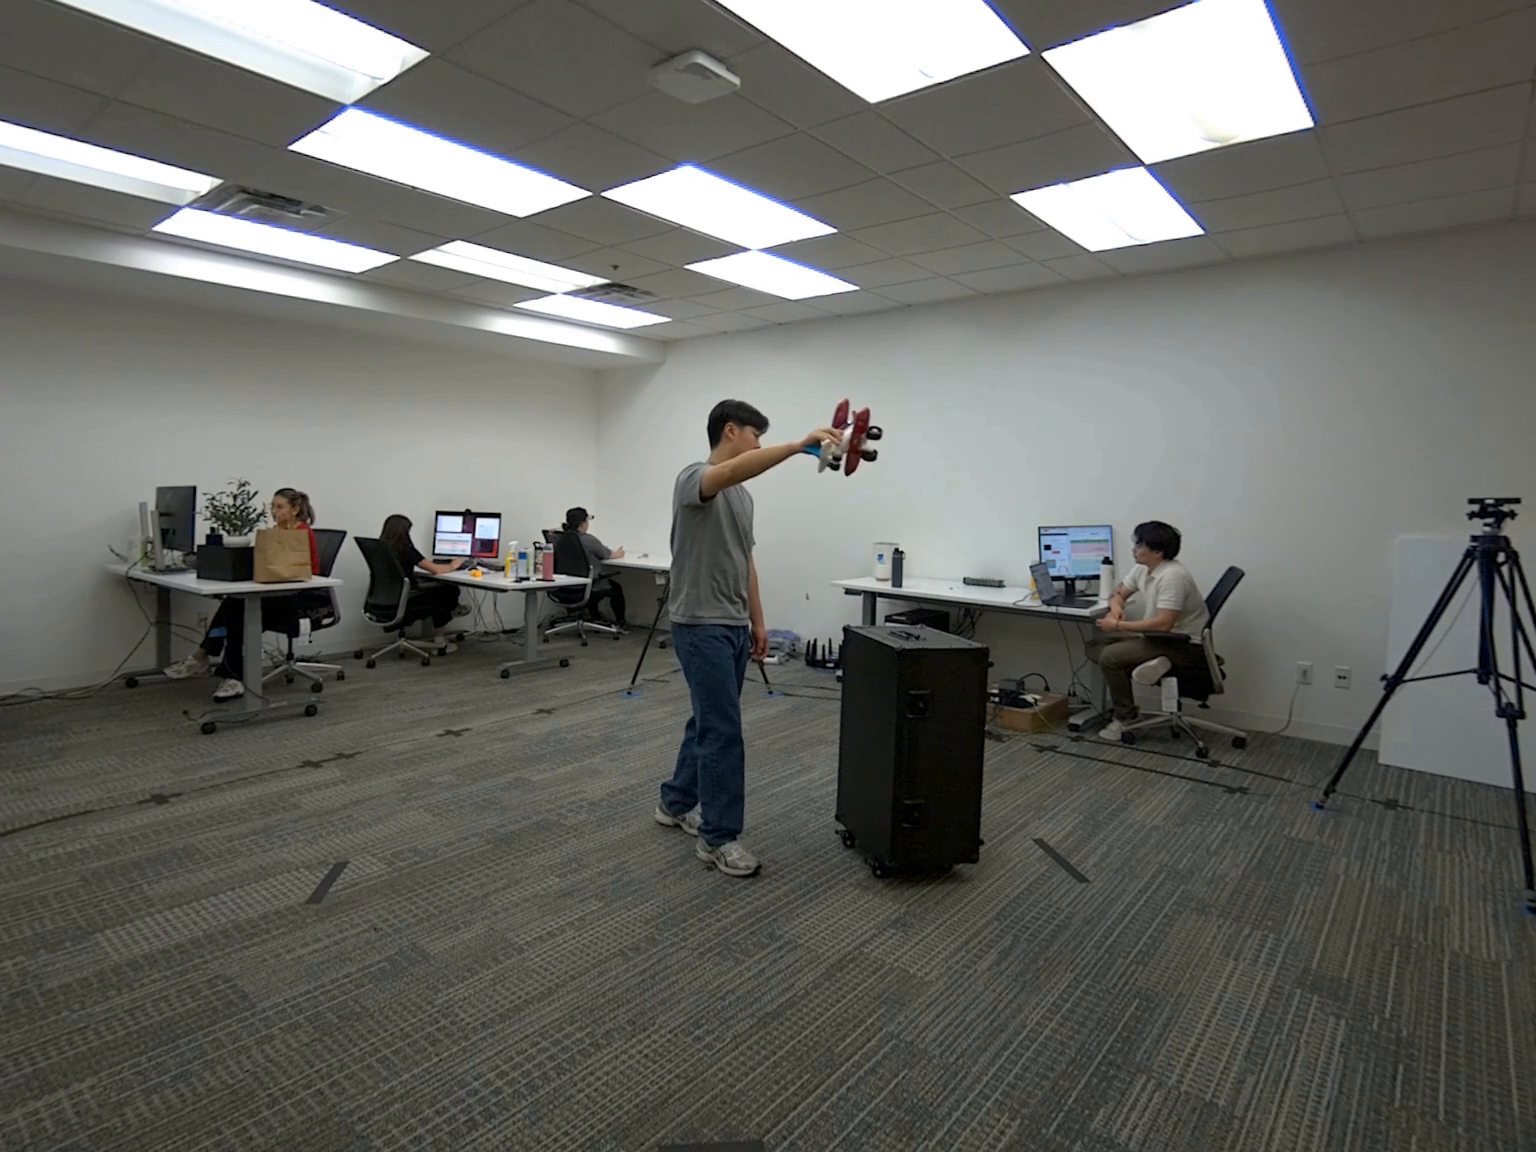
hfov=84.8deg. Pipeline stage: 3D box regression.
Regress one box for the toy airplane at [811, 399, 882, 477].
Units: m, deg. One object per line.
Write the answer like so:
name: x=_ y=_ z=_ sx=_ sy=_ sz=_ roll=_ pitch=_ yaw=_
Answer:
toy airplane: x=0.246 y=-0.452 z=2.808 sx=0.163 sy=0.249 sz=0.250 roll=40 pitch=22 yaw=33
